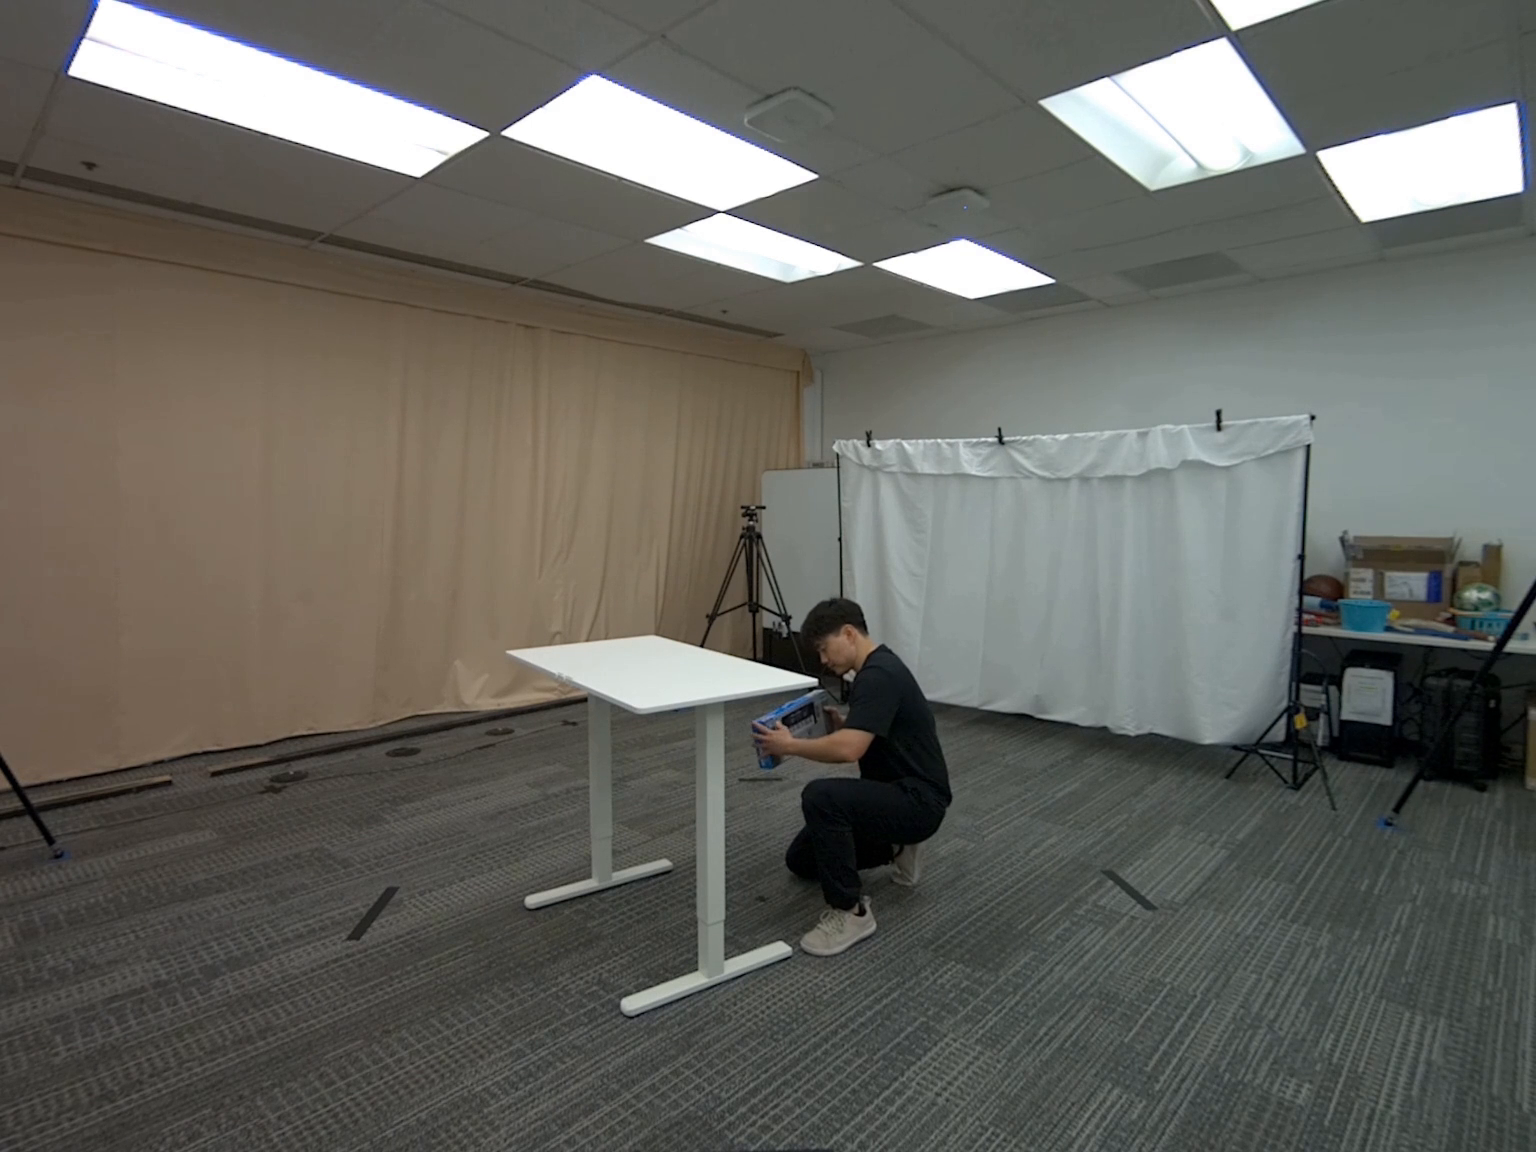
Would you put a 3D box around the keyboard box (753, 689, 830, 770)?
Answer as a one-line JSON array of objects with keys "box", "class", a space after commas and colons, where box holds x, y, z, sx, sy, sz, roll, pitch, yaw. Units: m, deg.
[{"box": [0.109, 0.578, 3.139, 0.061, 0.175, 0.426, -10, 3, 37], "class": "keyboard box"}]
